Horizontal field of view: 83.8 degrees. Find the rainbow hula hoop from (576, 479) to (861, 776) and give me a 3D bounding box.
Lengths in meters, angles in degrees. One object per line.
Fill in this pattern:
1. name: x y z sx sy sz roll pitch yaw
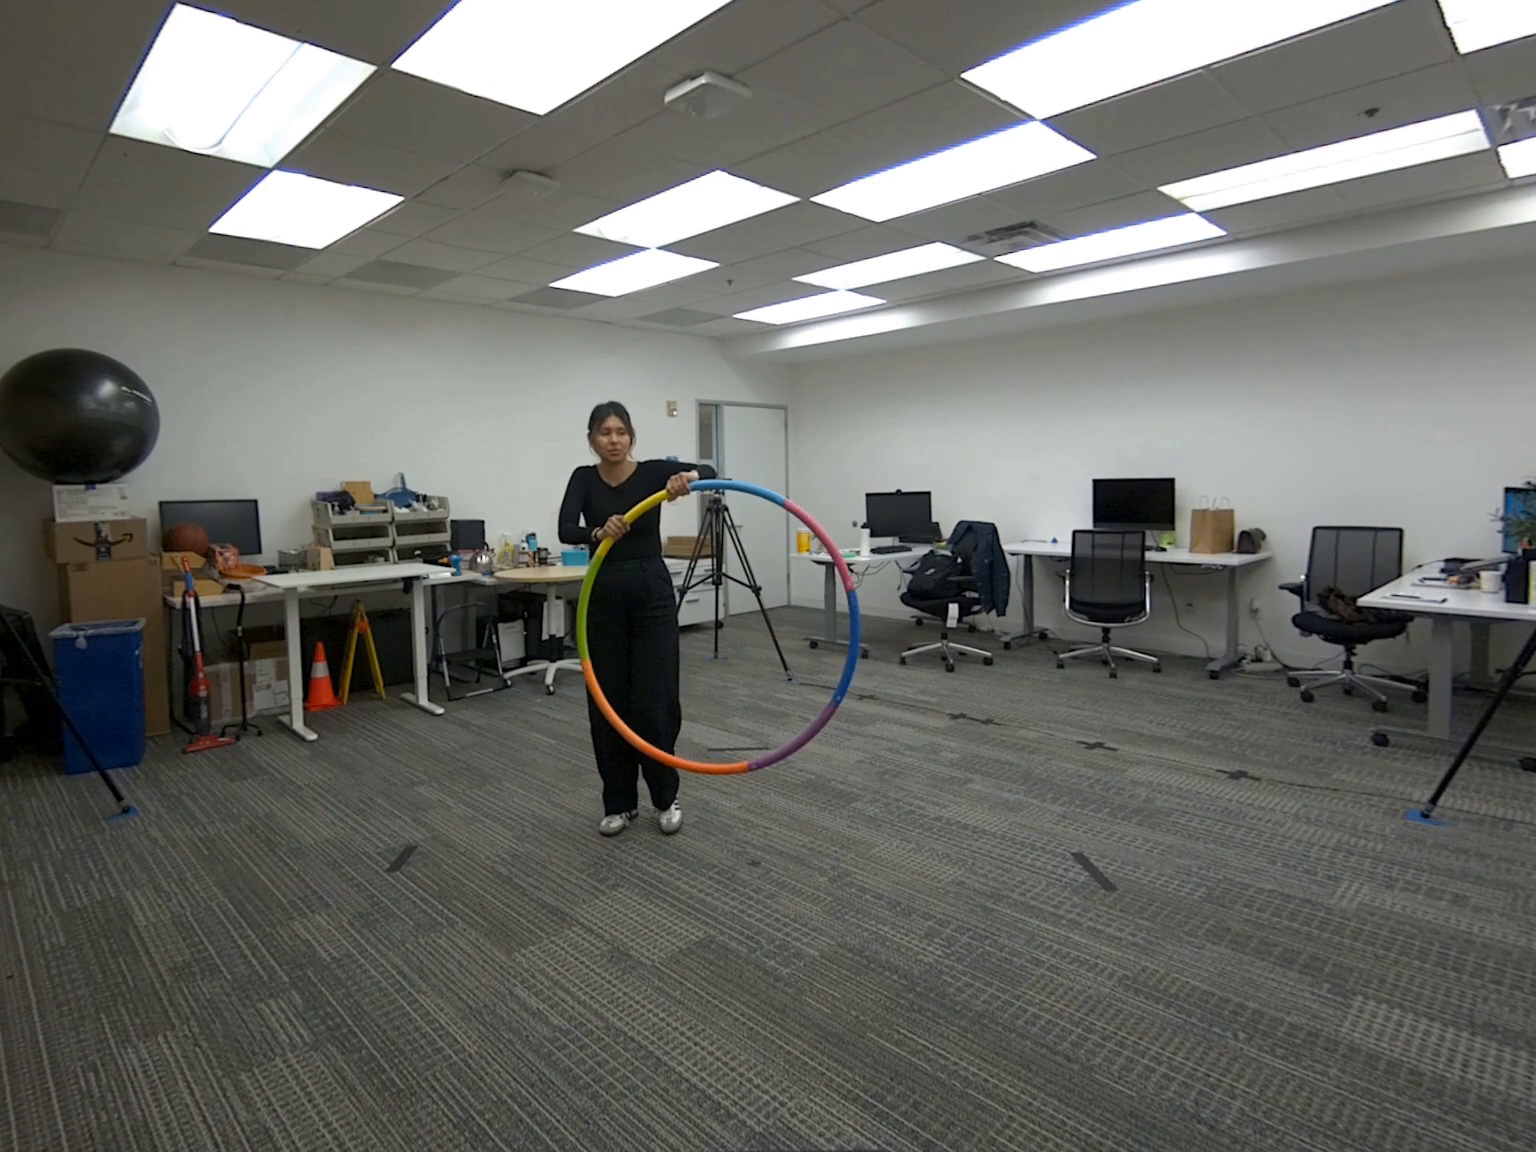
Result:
1. rainbow hula hoop: -0.189 0.174 2.889 0.996 0.989 0.051 0 -4 11
